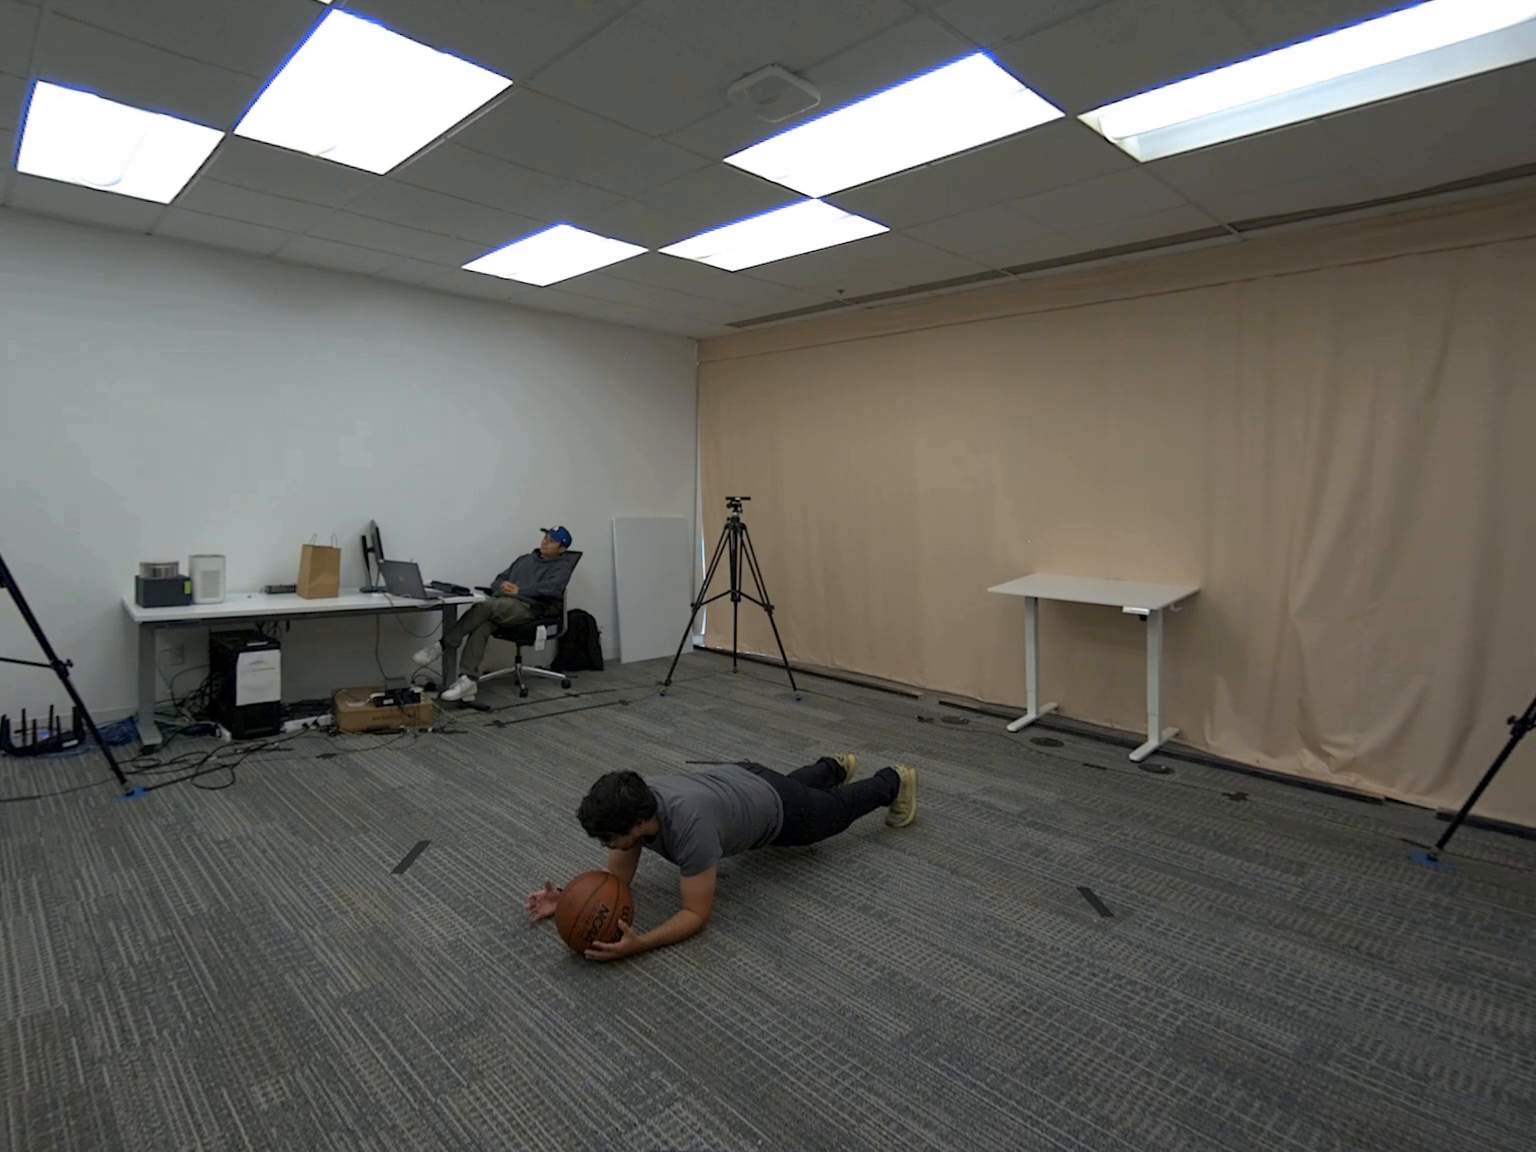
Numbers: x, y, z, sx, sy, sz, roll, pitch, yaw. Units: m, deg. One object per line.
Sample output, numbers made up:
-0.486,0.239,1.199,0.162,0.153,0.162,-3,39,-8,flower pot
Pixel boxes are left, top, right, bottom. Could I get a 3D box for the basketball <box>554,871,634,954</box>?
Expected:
-0.541,1.032,2.568,0.236,0.235,0.237,1,4,-1,basketball
